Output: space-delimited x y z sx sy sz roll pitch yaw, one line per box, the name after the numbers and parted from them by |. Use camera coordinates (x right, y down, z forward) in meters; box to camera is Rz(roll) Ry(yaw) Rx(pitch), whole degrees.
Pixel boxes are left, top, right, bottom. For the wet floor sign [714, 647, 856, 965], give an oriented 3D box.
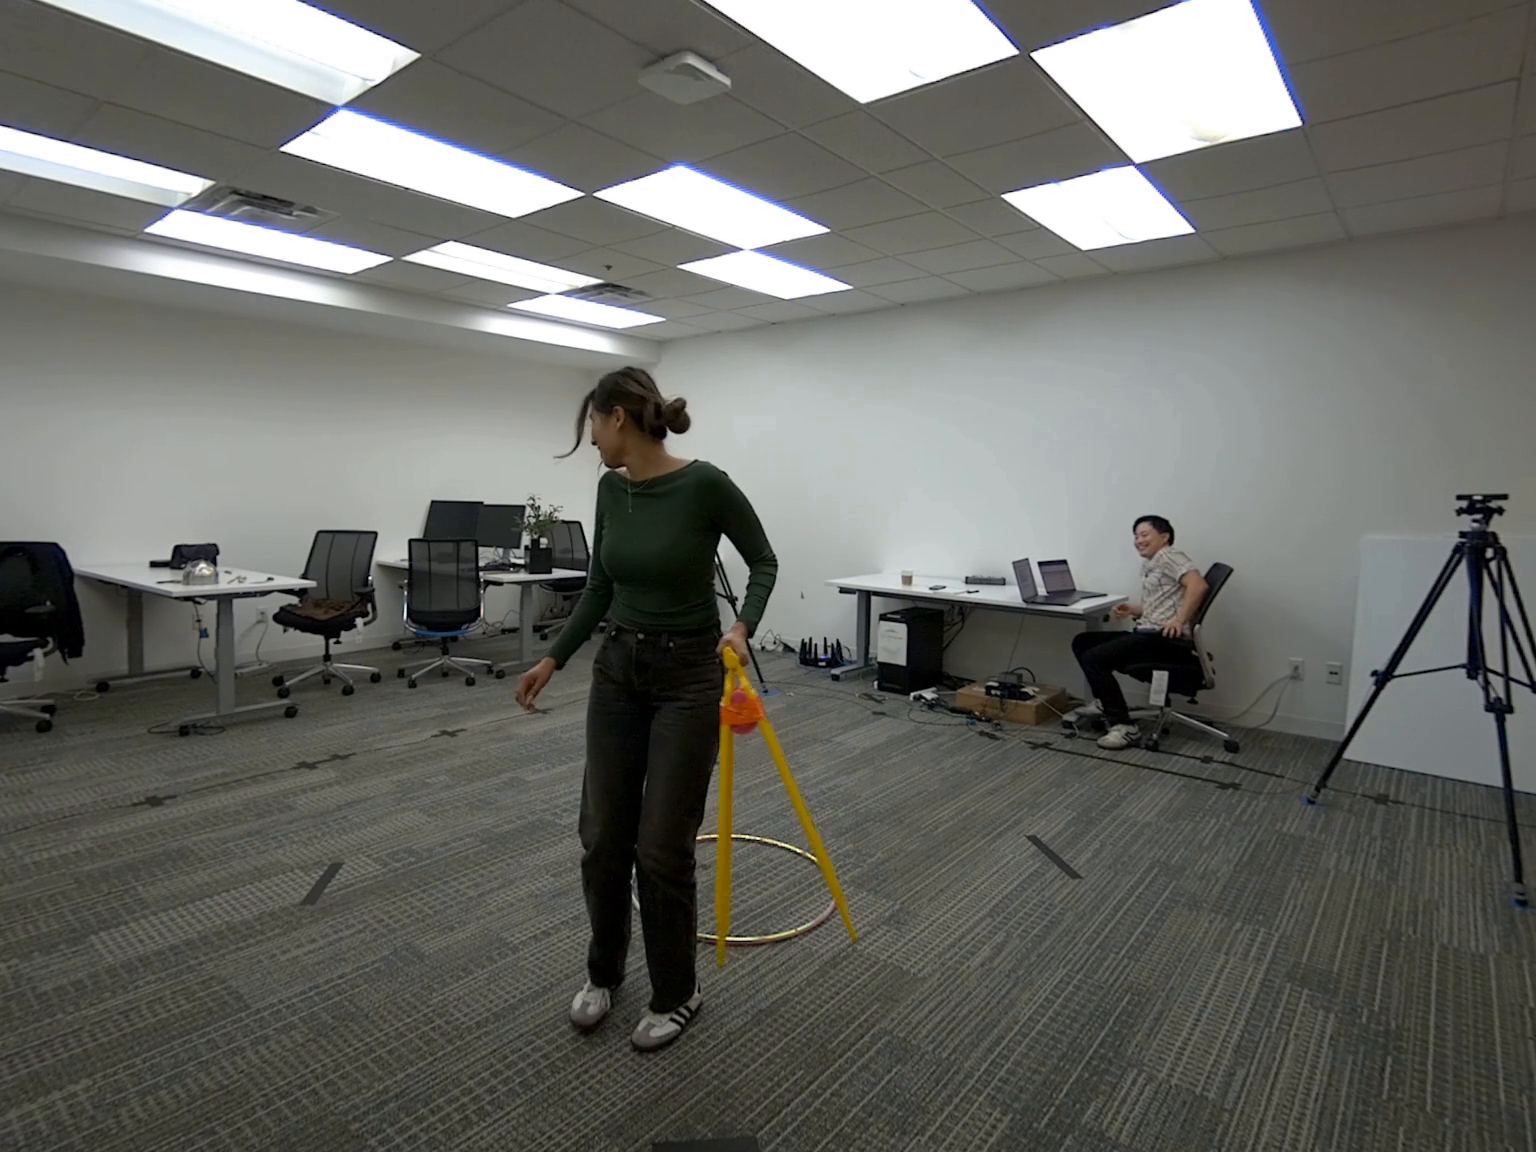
-0.050 0.479 1.963 0.289 0.653 0.280 -11 -9 -5 | wet floor sign
